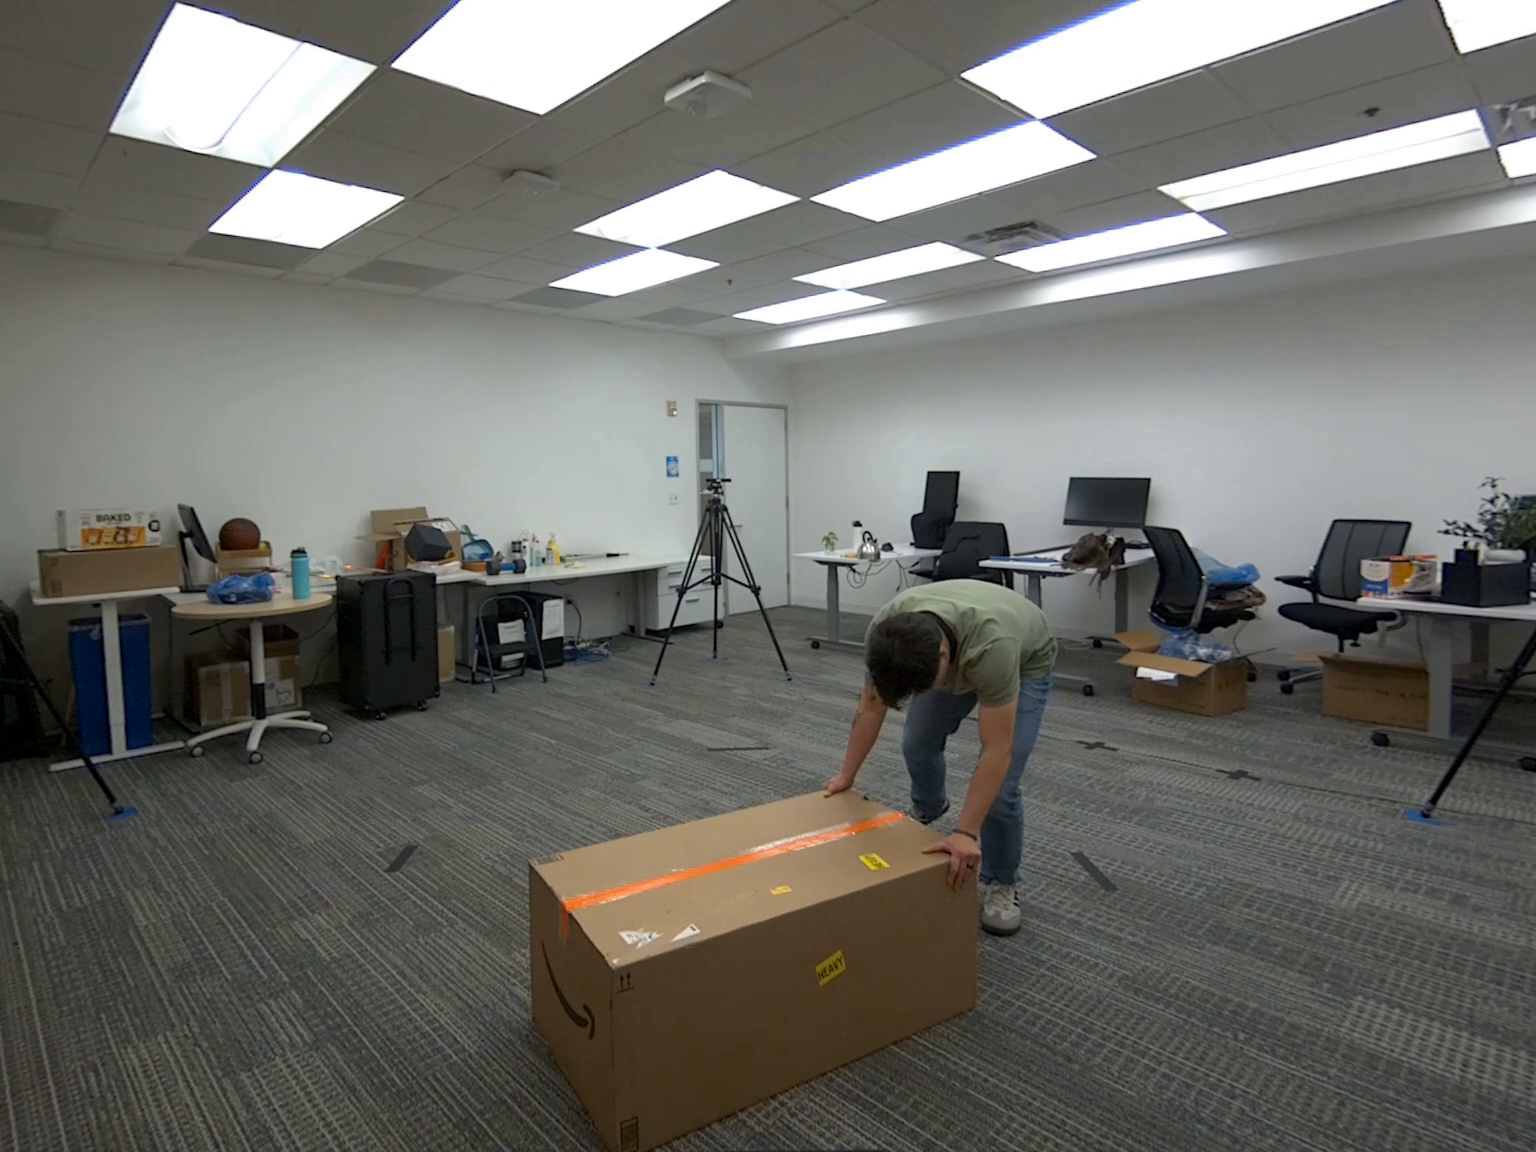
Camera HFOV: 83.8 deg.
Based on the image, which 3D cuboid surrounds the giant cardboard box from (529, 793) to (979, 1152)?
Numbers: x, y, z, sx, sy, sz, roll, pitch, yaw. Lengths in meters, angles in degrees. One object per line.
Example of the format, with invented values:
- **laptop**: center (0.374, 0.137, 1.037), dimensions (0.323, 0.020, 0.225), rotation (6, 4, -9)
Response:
- **giant cardboard box**: center (-0.035, 0.933, 2.231), dimensions (1.002, 0.424, 0.594), rotation (-4, 7, -30)
